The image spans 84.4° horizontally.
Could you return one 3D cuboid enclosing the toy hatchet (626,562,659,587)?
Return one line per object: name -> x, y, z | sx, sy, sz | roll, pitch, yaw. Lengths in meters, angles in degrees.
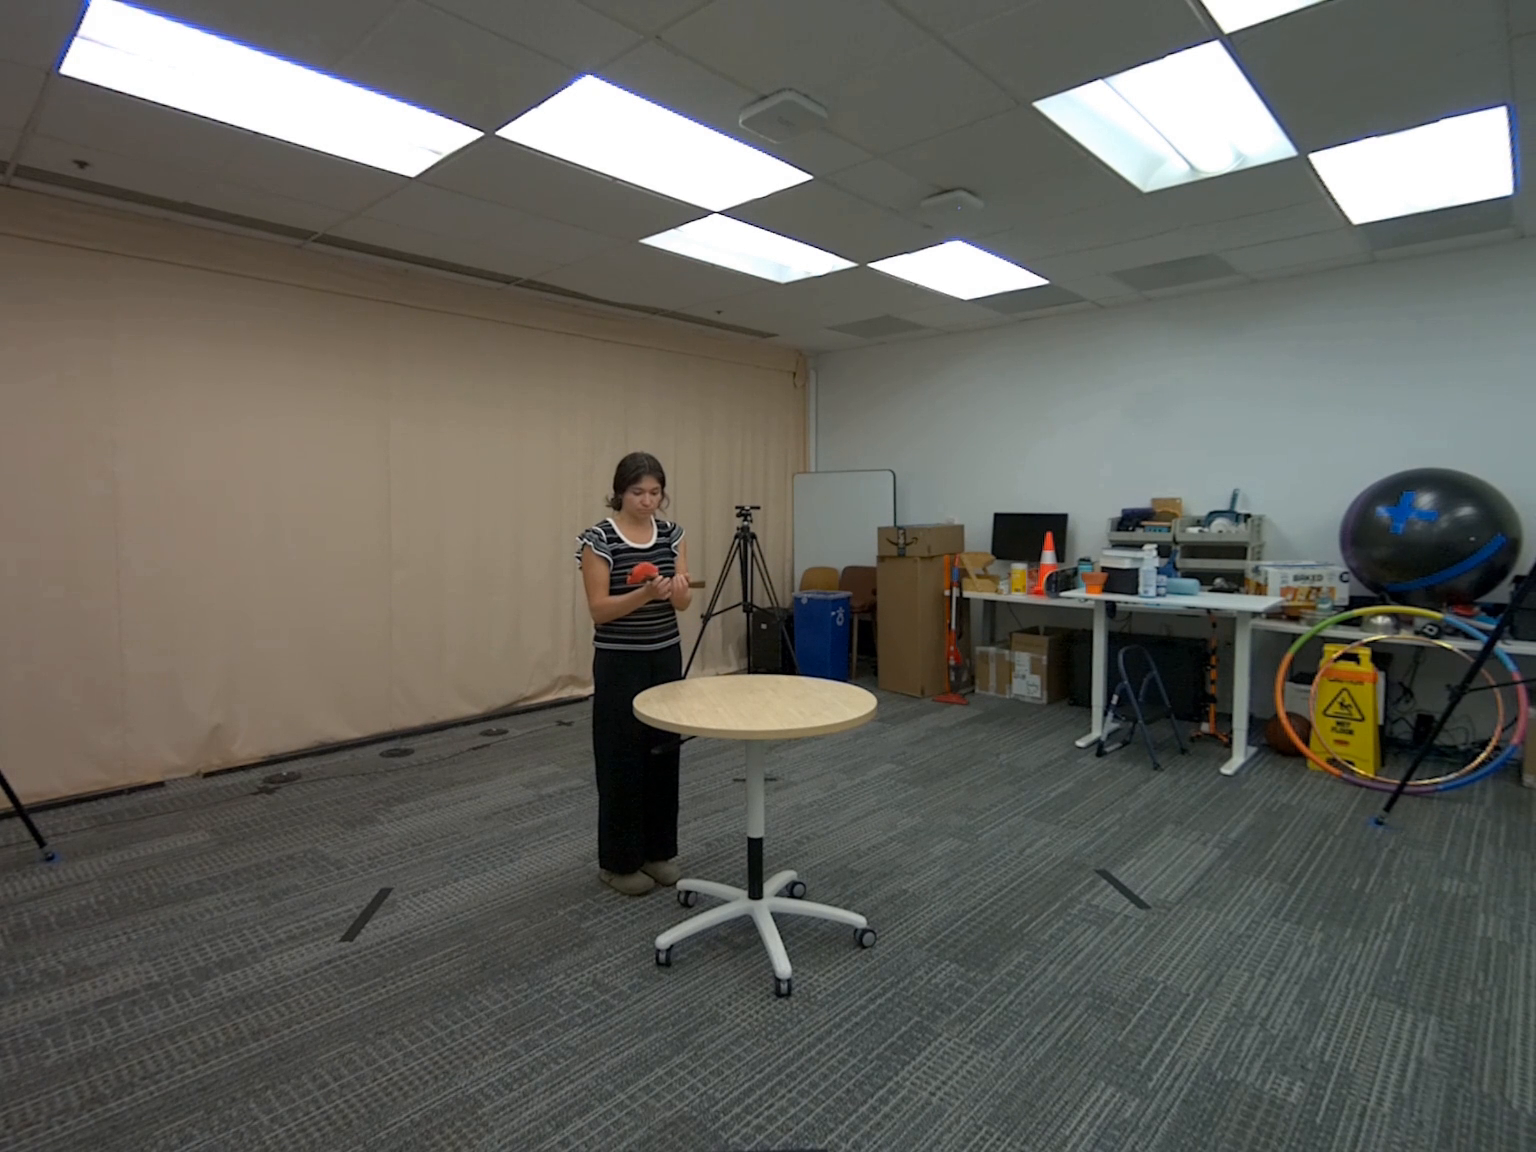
toy hatchet -> -0.326, -0.003, 2.774 | 0.266, 0.030, 0.130 | 1, -35, -13
